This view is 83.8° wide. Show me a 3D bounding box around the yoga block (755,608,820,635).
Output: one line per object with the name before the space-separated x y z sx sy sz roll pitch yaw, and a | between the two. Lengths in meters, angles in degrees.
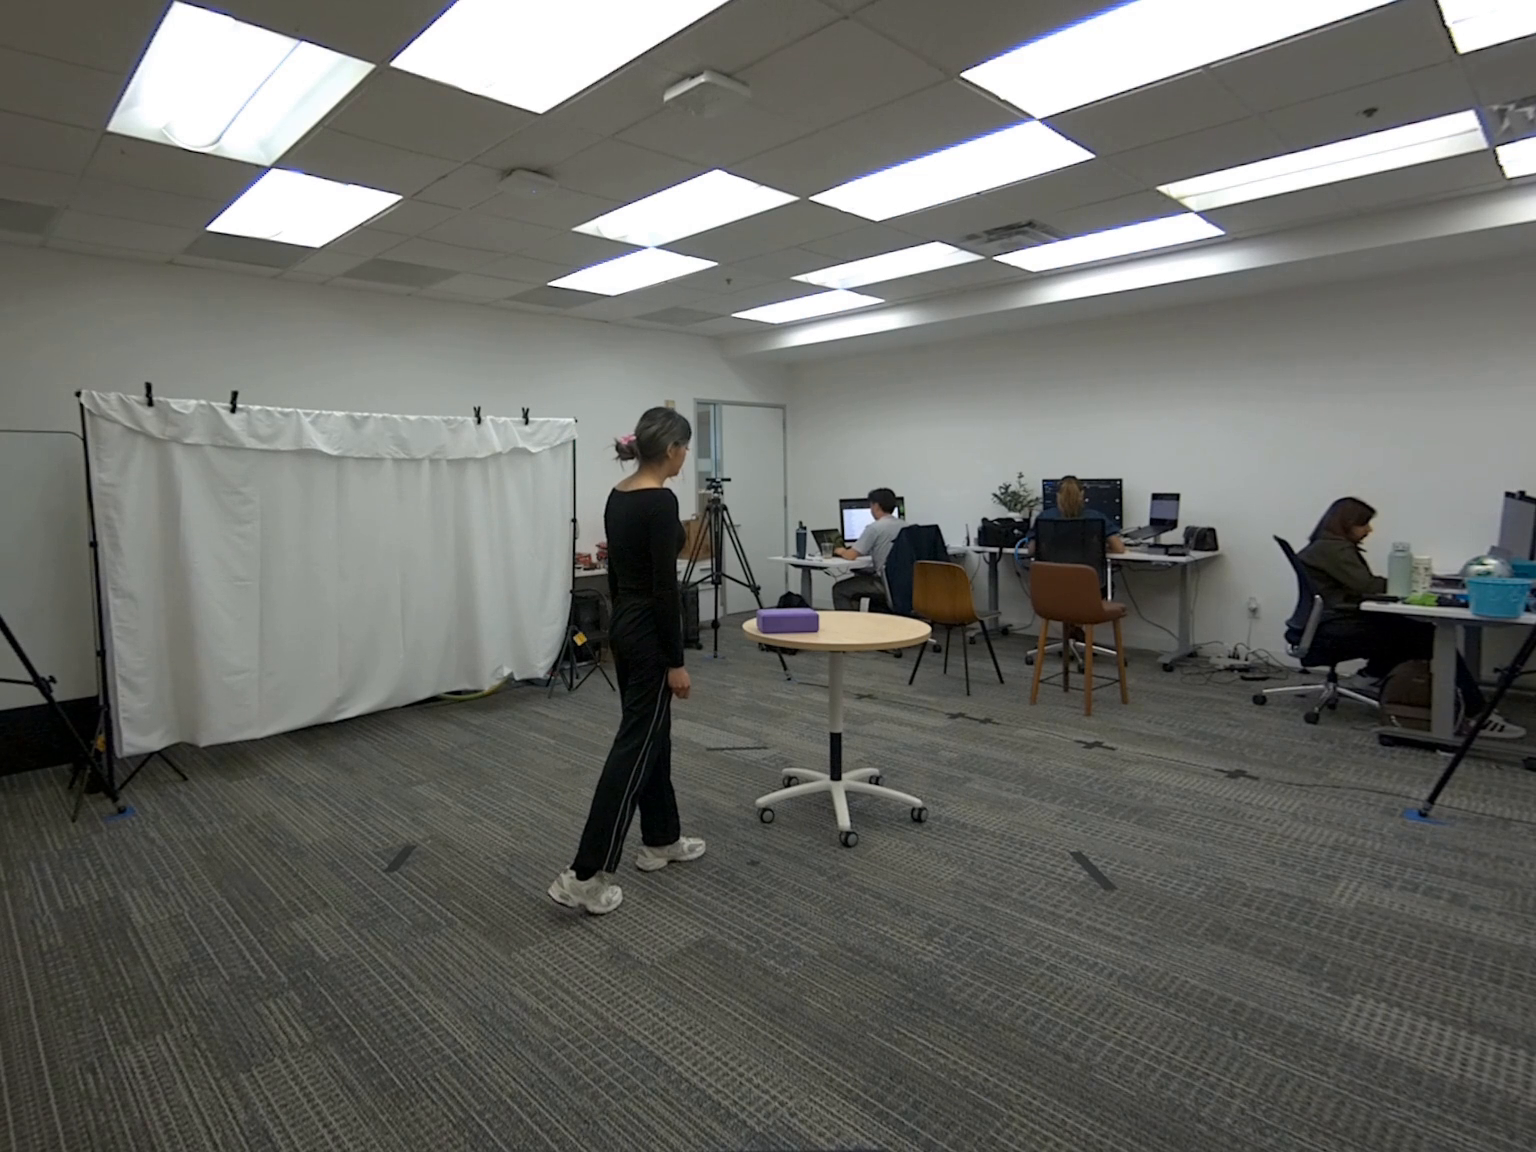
yoga block | 0.088 0.179 3.424 0.229 0.076 0.150 -1 5 -4
